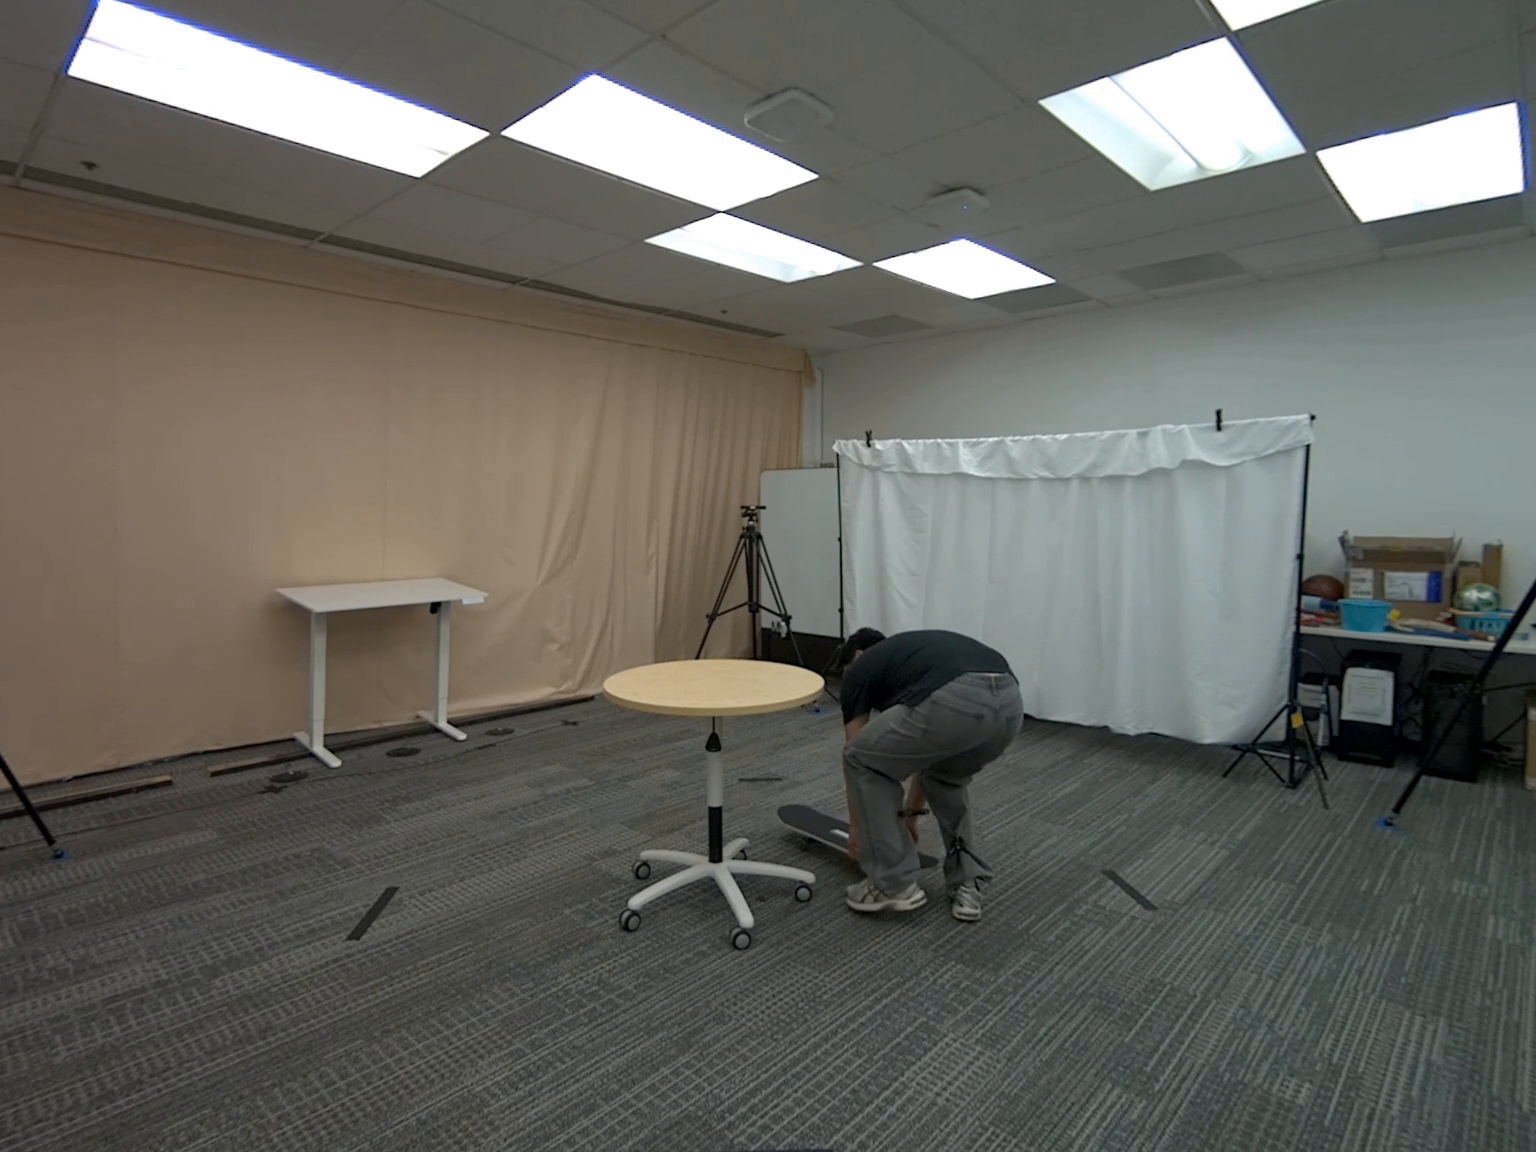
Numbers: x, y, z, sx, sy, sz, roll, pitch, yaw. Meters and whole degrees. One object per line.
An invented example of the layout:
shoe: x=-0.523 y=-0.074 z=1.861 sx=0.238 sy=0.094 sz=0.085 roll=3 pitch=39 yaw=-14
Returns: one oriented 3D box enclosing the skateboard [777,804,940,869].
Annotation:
skateboard: x=0.337 y=1.054 z=3.299 sx=0.188 sy=0.110 sz=0.811 roll=-4 pitch=6 yaw=-39
